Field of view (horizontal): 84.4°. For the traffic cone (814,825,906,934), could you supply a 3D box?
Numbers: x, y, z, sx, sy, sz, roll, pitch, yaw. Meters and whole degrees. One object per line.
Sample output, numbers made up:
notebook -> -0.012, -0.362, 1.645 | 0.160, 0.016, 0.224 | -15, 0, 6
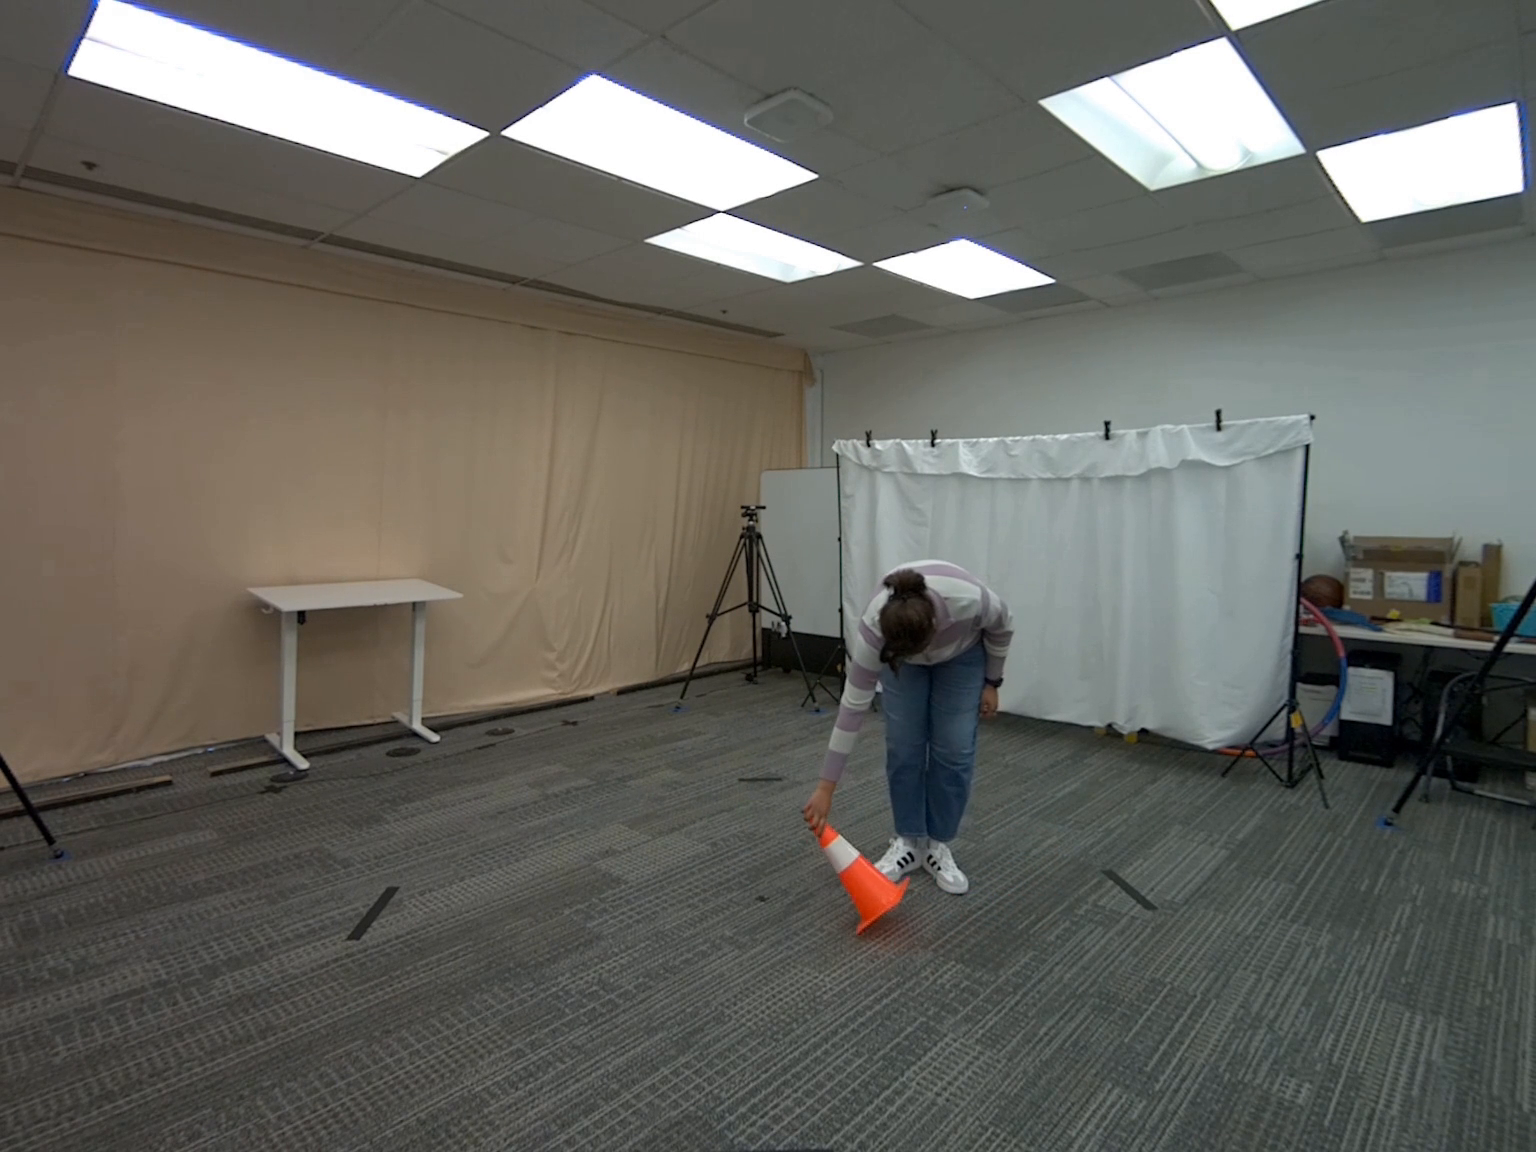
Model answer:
traffic cone -> 0.252, 0.947, 2.819 | 0.206, 0.391, 0.198 | -46, -17, 16
